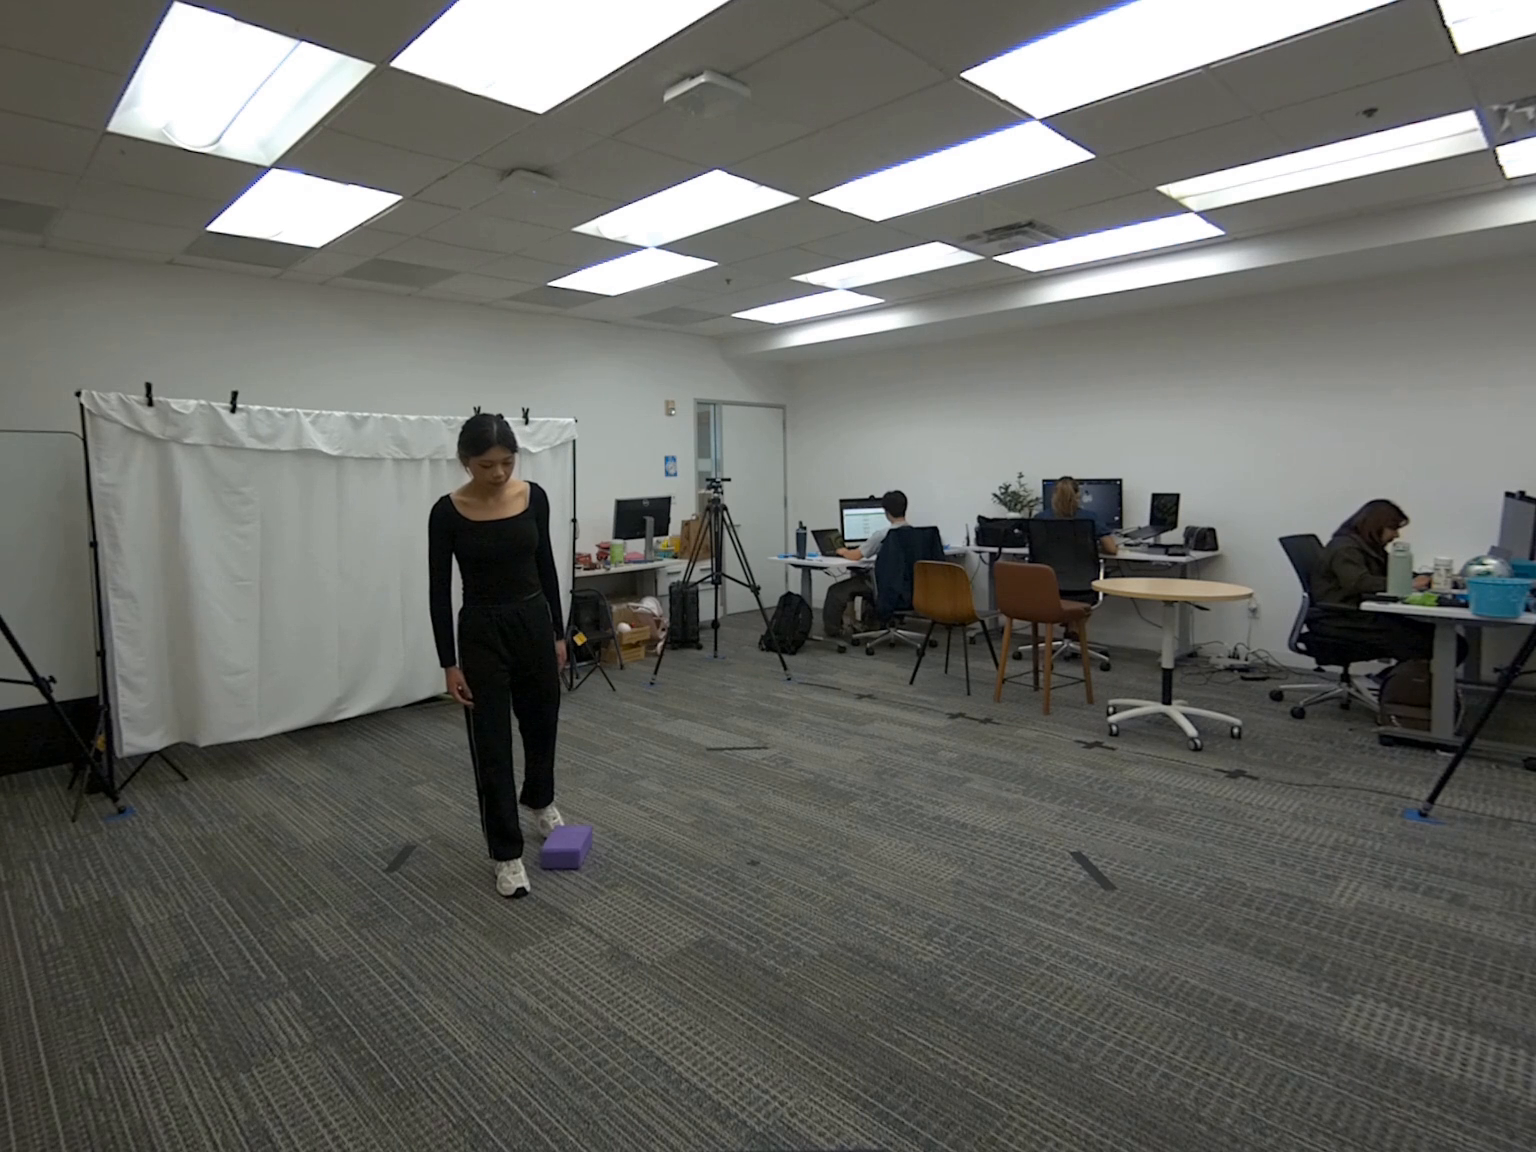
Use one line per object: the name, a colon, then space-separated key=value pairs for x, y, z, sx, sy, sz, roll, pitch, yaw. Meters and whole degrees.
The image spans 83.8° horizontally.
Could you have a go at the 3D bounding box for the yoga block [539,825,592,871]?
yoga block: x=-0.745 y=1.009 z=3.171 sx=0.149 sy=0.076 sz=0.230 roll=-1 pitch=6 yaw=1
